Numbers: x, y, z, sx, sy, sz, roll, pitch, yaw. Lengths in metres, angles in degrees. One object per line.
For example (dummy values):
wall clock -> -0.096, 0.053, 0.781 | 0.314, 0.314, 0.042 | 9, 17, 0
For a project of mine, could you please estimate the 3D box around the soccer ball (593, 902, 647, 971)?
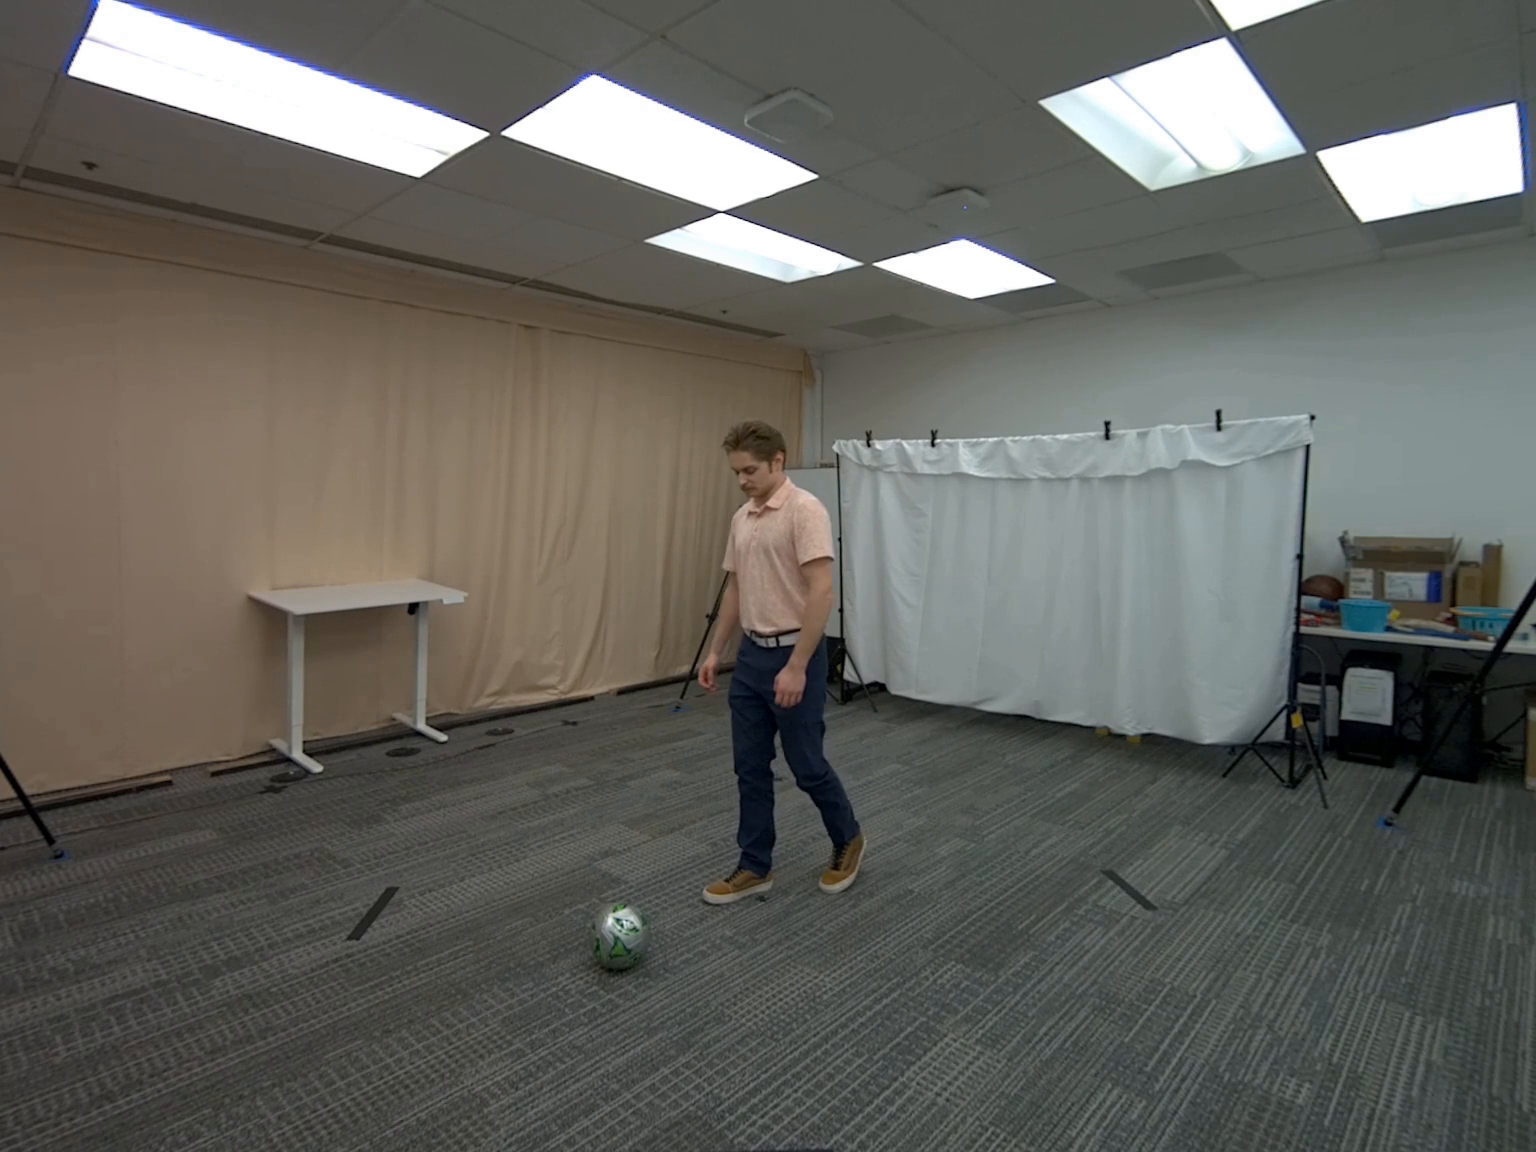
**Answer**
soccer ball -> -0.445, 1.090, 2.551 | 0.187, 0.187, 0.188 | 0, 4, -2
